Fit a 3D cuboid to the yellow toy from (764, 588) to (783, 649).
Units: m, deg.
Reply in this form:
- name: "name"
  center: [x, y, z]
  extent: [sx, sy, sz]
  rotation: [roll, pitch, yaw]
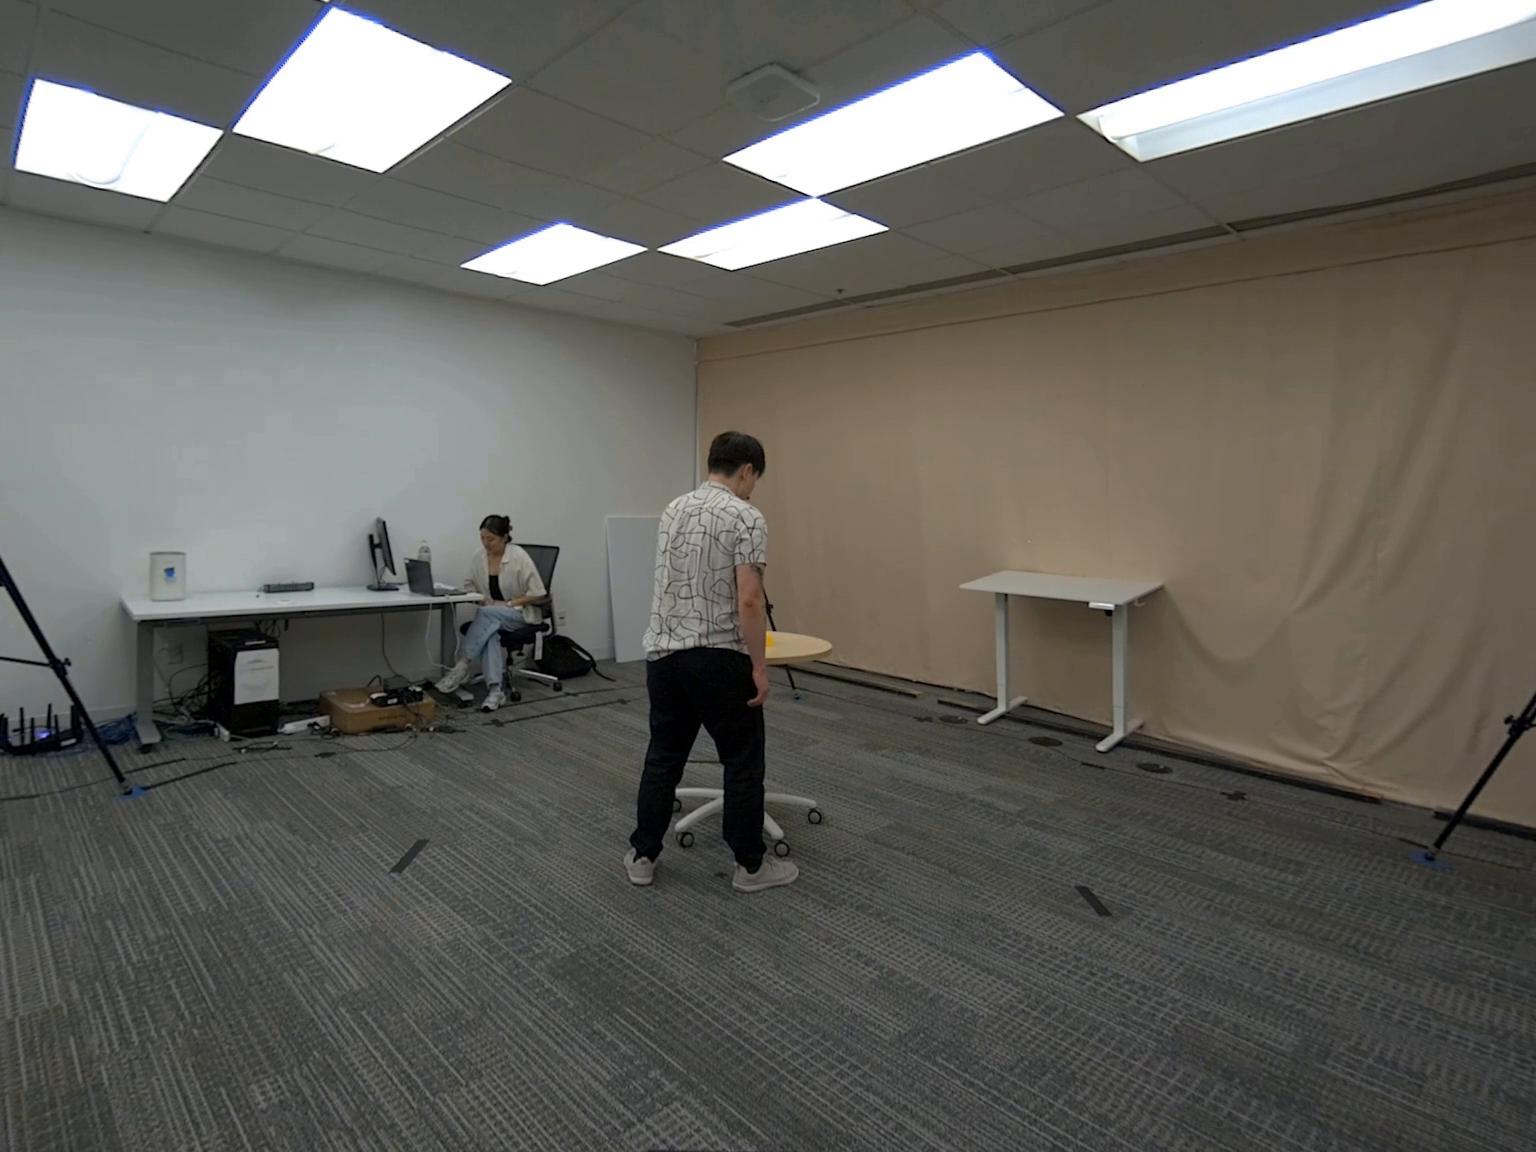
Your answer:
- name: "yellow toy"
  center: [-0.085, 0.172, 3.532]
  extent: [0.188, 0.230, 0.210]
  rotation: [-2, 4, -42]
